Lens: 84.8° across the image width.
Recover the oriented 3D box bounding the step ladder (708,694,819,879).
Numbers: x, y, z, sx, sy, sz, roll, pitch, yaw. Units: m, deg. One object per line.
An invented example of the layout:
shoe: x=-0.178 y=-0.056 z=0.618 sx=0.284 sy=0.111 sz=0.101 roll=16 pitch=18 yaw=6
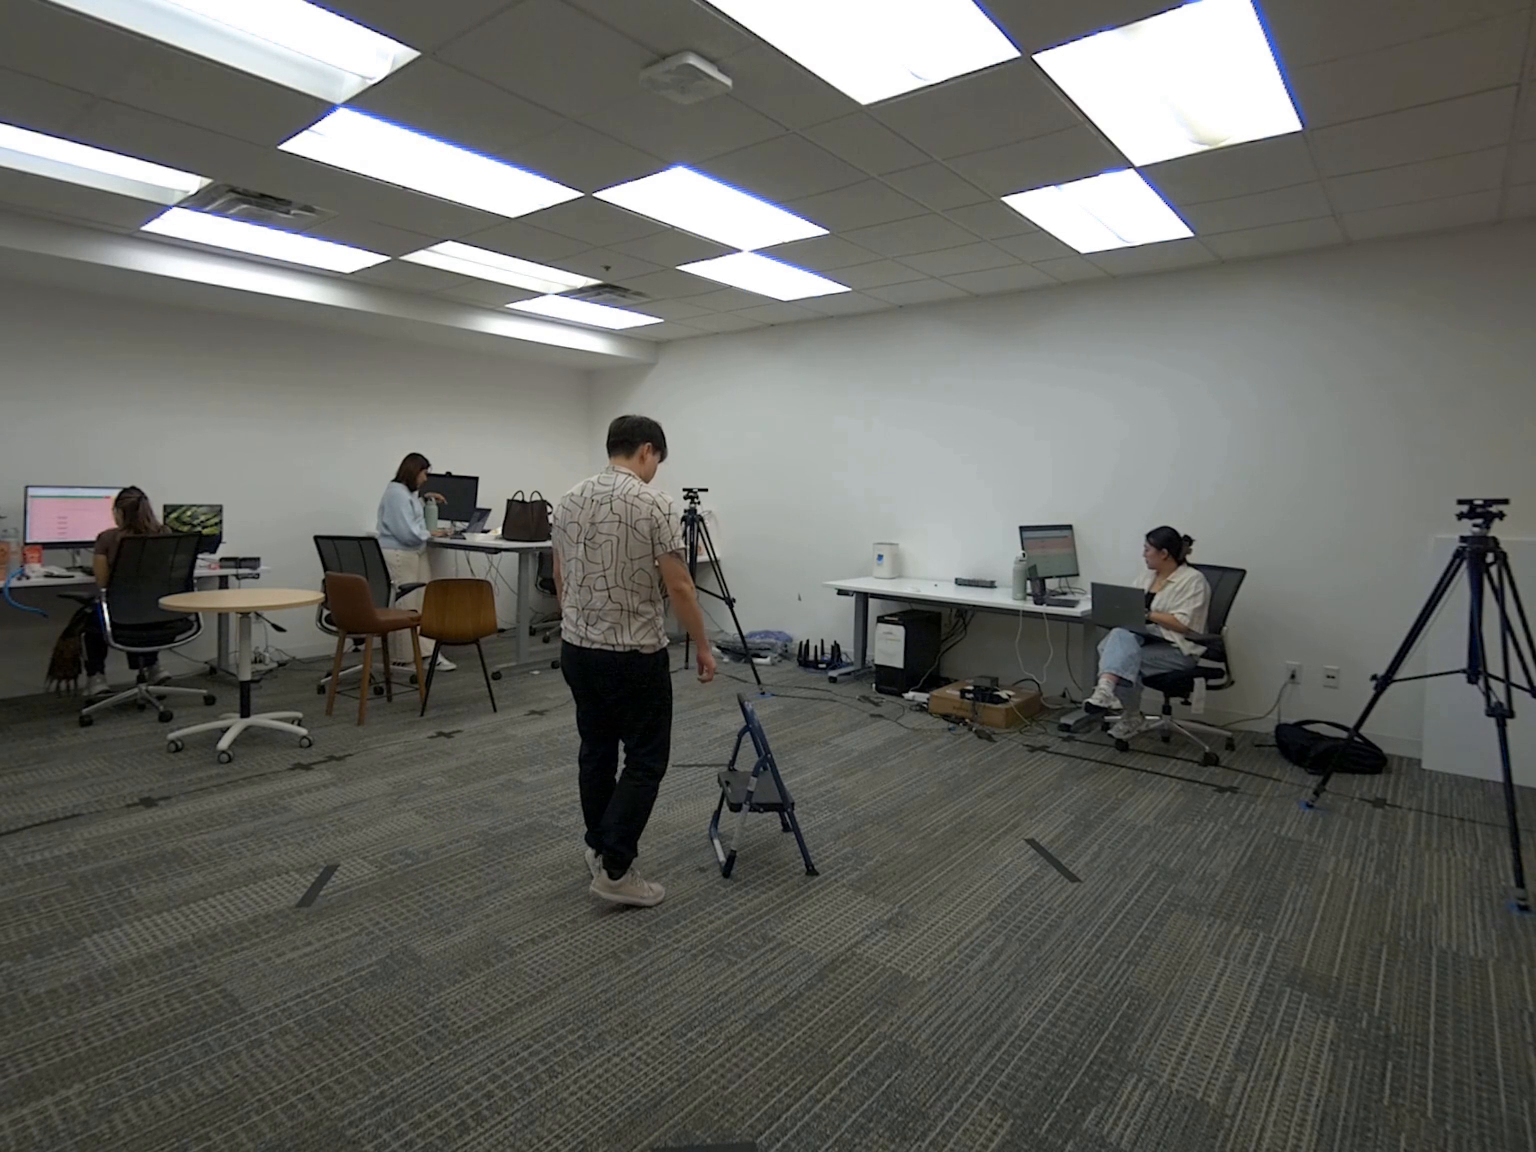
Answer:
step ladder: x=-0.036 y=0.761 z=3.253 sx=0.345 sy=0.604 sz=0.437 roll=1 pitch=3 yaw=-12
